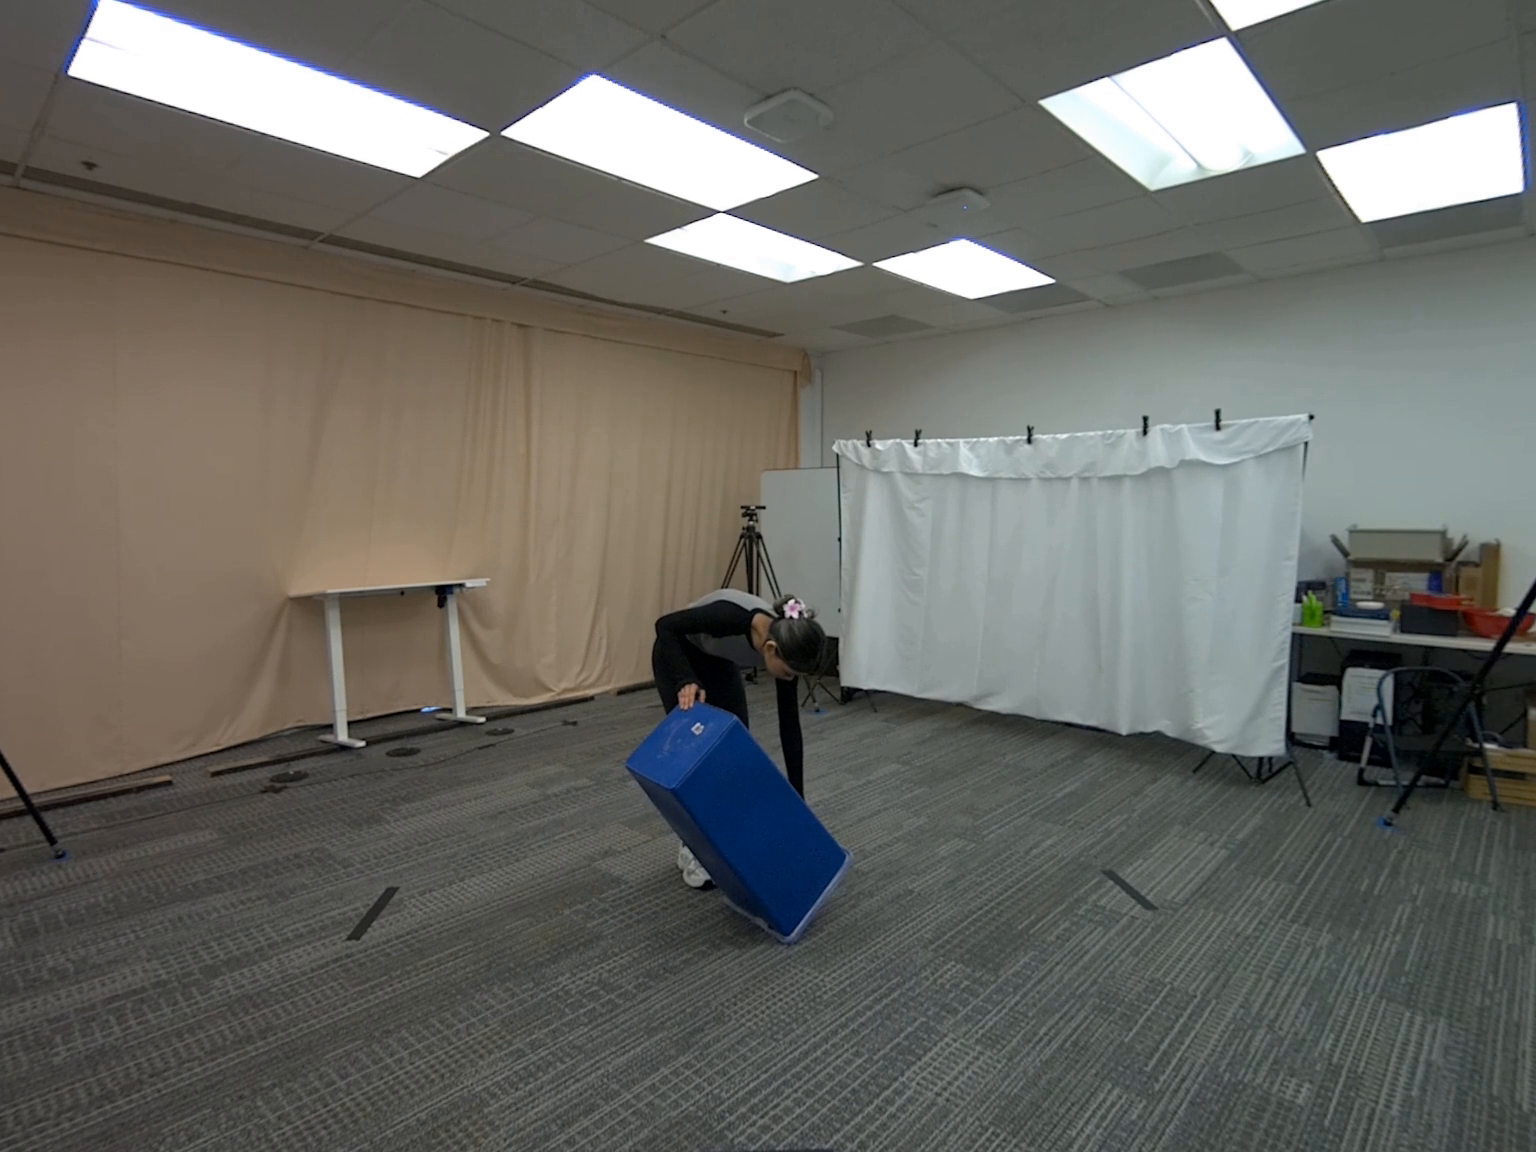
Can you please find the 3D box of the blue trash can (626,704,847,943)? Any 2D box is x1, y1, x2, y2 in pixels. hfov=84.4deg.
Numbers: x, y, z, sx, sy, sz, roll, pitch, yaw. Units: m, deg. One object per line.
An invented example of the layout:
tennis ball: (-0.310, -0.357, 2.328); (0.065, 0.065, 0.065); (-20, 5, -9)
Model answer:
blue trash can: (-0.091, 0.777, 2.737); (0.371, 0.696, 0.390); (-44, 26, -25)
